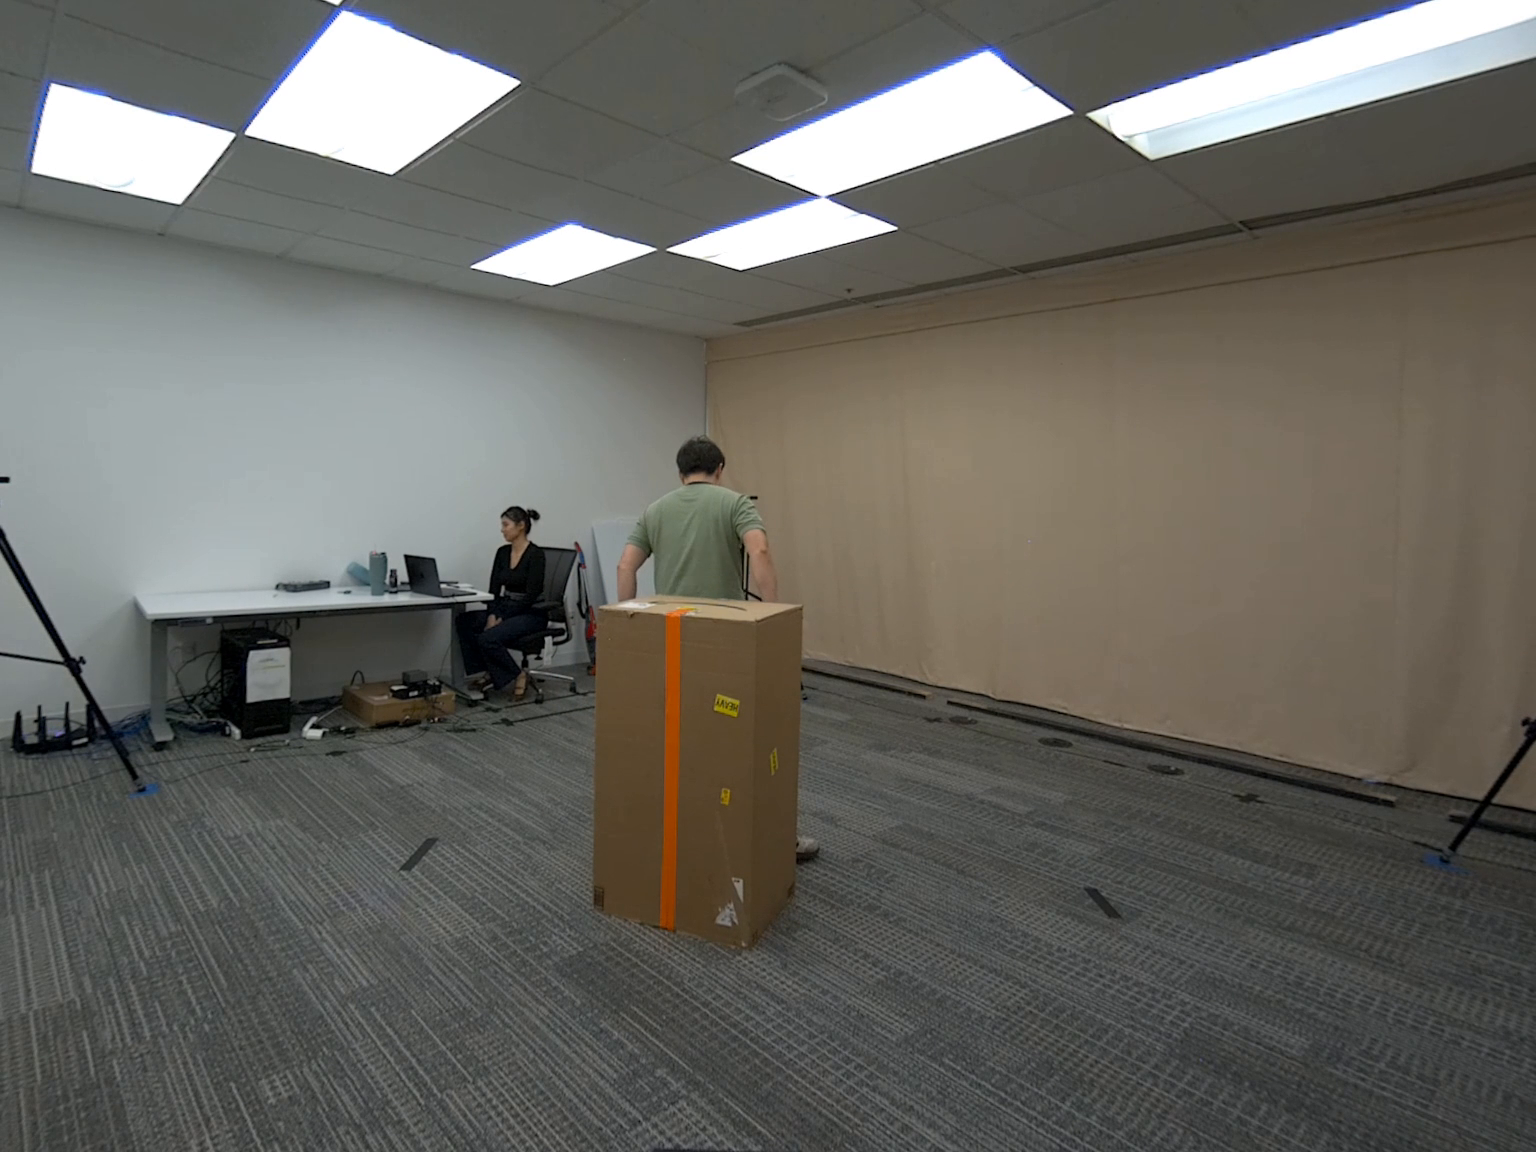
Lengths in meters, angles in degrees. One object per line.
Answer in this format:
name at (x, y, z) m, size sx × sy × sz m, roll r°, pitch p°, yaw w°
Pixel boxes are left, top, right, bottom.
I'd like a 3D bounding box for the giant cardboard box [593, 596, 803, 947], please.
giant cardboard box at (-0.237, 0.610, 2.858) m, size 0.588 × 1.023 × 0.419 m, roll 2°, pitch 3°, yaw 24°
